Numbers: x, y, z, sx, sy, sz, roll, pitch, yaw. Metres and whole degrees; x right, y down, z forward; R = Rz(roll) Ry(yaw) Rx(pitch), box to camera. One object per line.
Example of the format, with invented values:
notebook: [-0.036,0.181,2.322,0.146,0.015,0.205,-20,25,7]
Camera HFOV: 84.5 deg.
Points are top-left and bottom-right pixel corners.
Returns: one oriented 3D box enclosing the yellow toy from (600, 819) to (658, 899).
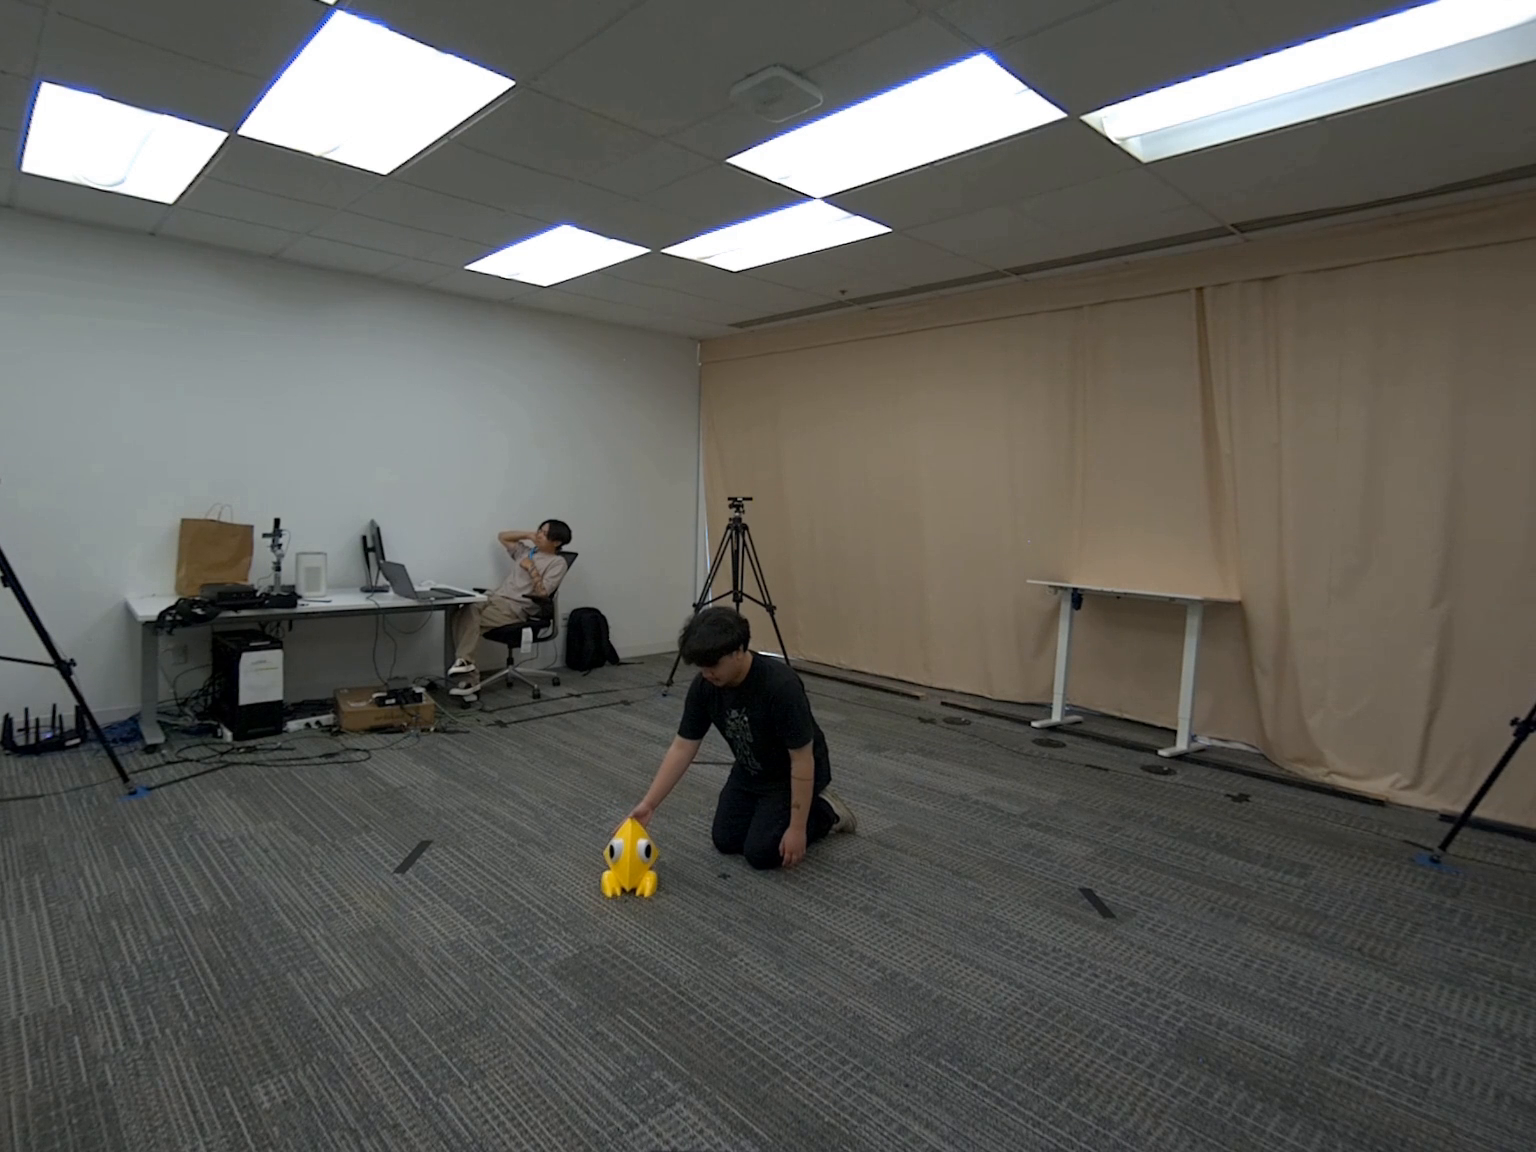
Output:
yellow toy: [-0.501,0.998,3.001,0.204,0.230,0.194,1,4,-4]
